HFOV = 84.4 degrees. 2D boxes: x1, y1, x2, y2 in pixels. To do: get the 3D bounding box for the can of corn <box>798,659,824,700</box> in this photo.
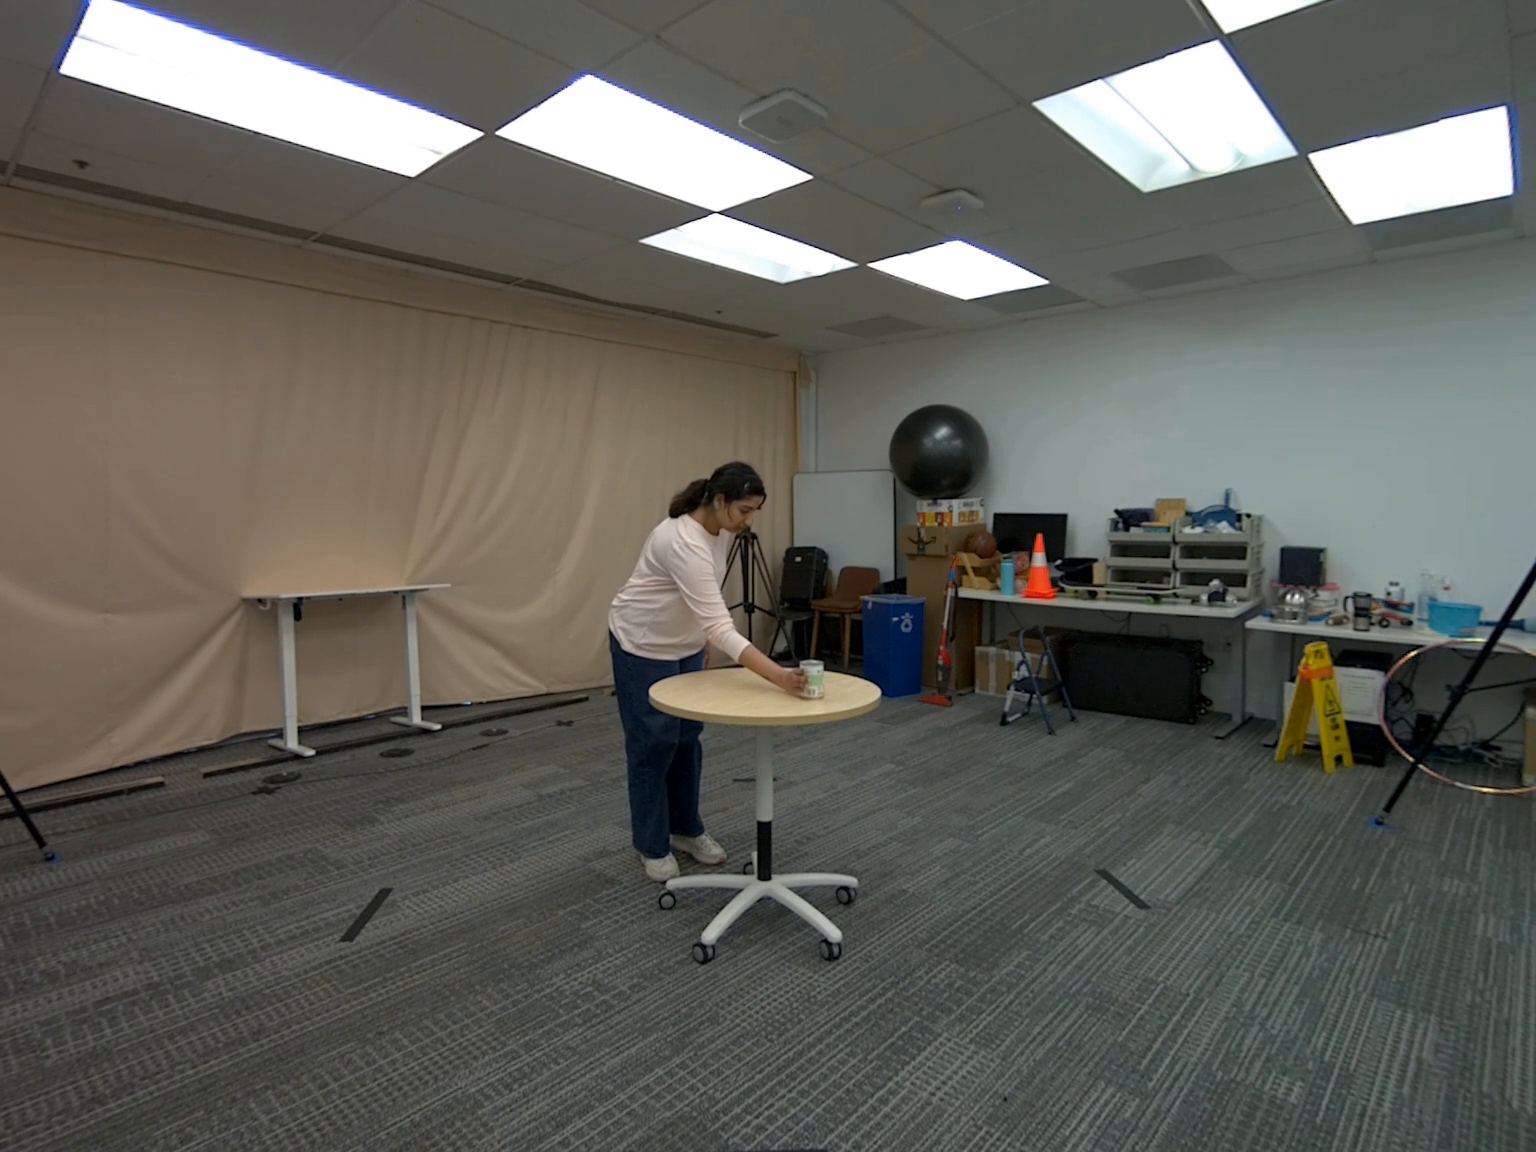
[{"bbox_3d":[0.135,0.331,2.652,0.074,0.110,0.074,-3,6,-2],"label":"can of corn"}]
